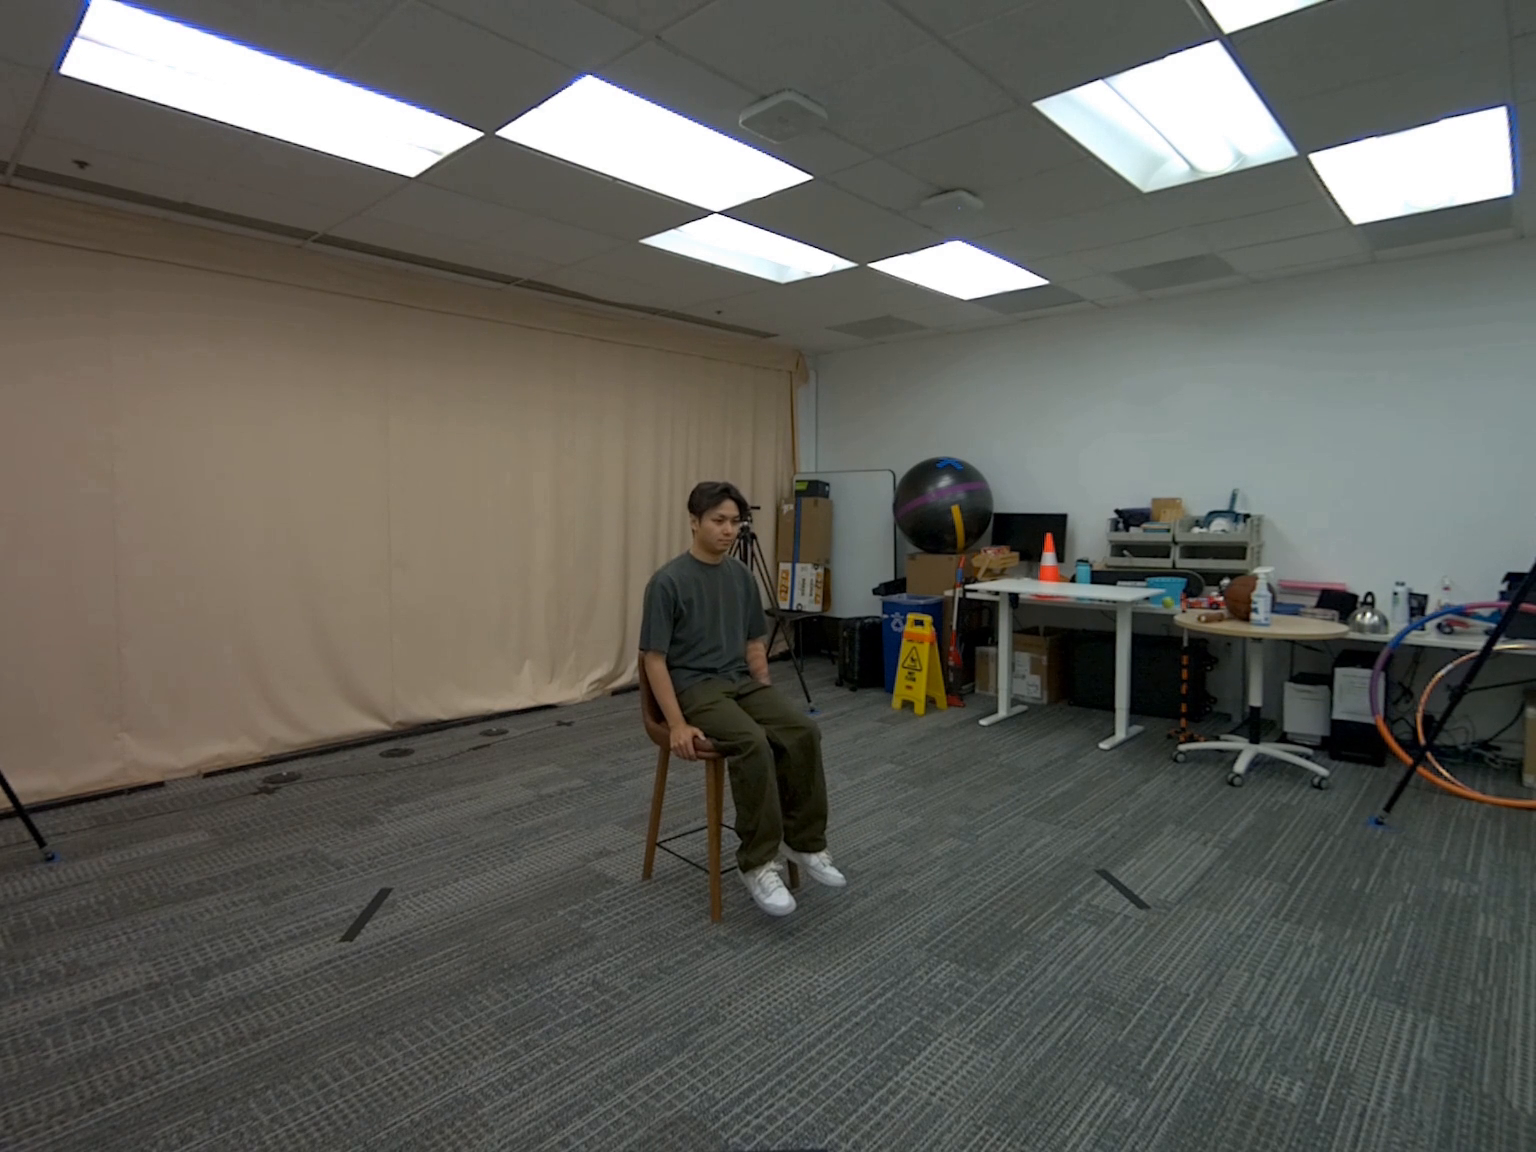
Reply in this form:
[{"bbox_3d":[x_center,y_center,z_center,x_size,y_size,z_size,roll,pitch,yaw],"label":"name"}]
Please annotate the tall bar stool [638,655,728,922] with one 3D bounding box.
[{"bbox_3d":[-0.198,0.698,3.098,0.442,0.889,0.482,-4,2,-43],"label":"tall bar stool"}]
